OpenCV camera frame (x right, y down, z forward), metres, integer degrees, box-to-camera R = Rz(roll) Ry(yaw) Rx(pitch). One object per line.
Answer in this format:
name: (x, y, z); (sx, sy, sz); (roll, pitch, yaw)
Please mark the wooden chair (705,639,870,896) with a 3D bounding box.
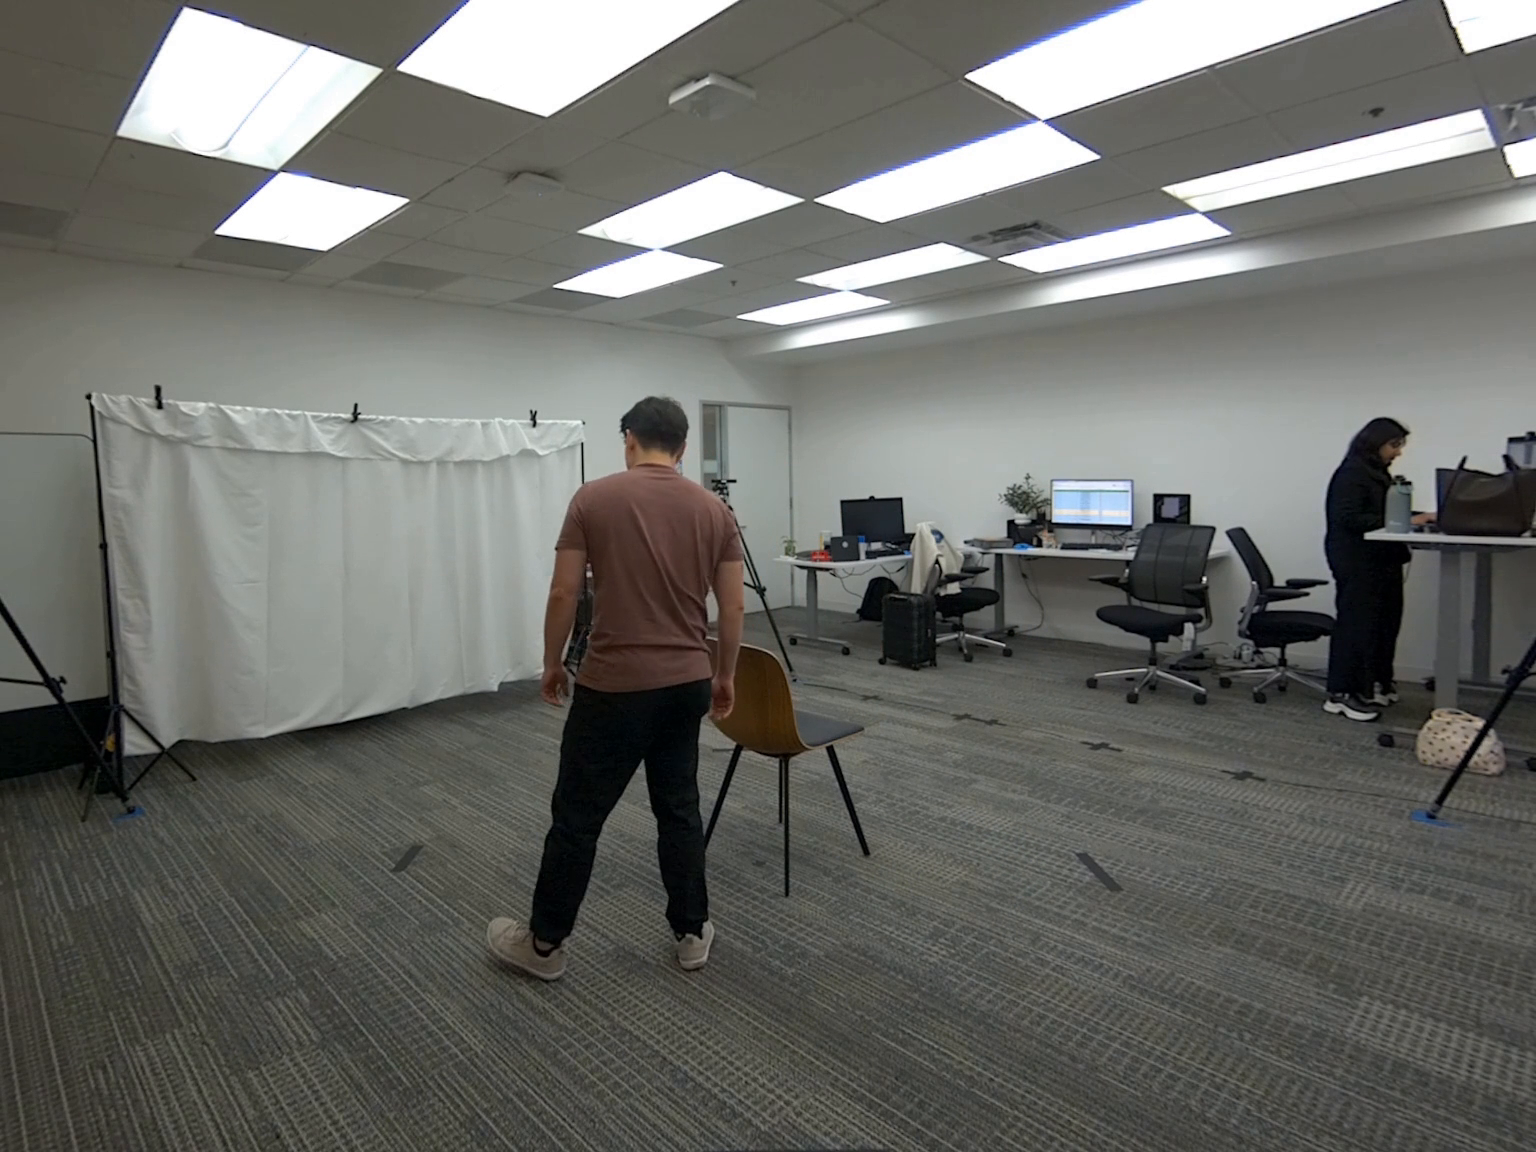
wooden chair: (0.061, 0.614, 3.146); (0.511, 0.872, 0.493); (-11, 10, -44)
